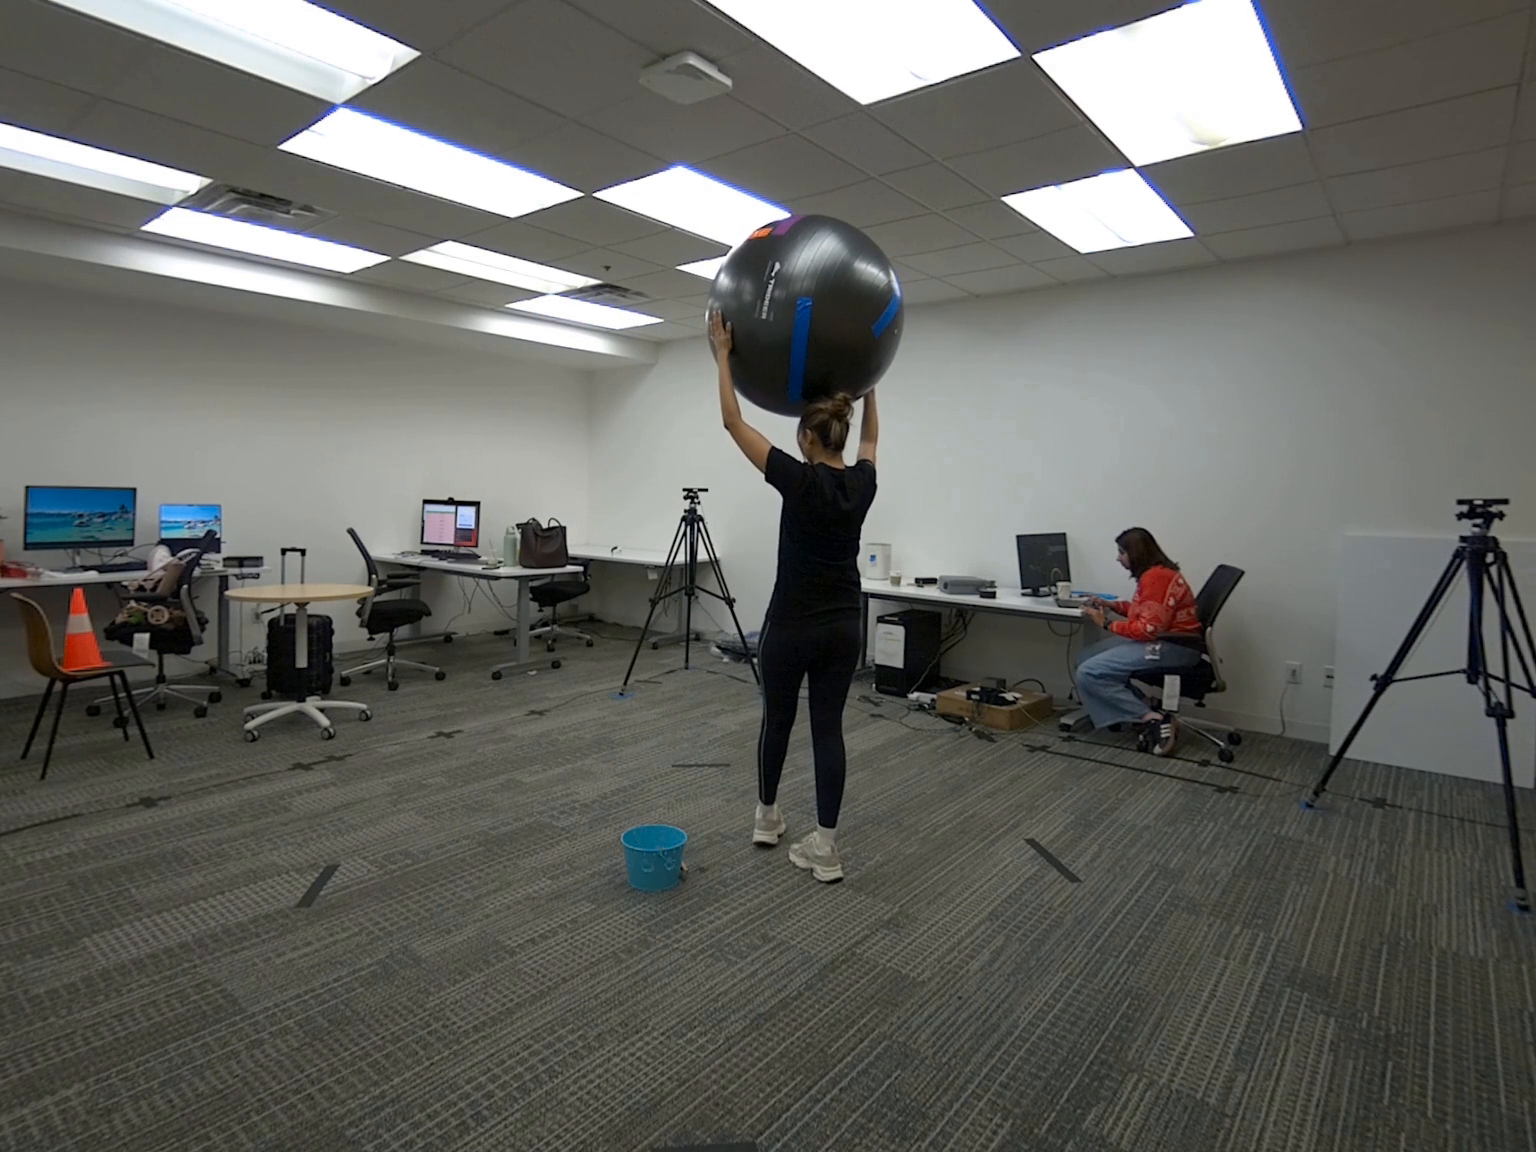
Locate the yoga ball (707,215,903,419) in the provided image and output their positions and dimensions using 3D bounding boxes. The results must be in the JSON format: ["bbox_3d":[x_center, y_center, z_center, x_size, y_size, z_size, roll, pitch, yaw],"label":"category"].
[{"bbox_3d":[0.131,-0.993,3.280,0.757,0.755,0.762,1,4,-2],"label":"yoga ball"}]
